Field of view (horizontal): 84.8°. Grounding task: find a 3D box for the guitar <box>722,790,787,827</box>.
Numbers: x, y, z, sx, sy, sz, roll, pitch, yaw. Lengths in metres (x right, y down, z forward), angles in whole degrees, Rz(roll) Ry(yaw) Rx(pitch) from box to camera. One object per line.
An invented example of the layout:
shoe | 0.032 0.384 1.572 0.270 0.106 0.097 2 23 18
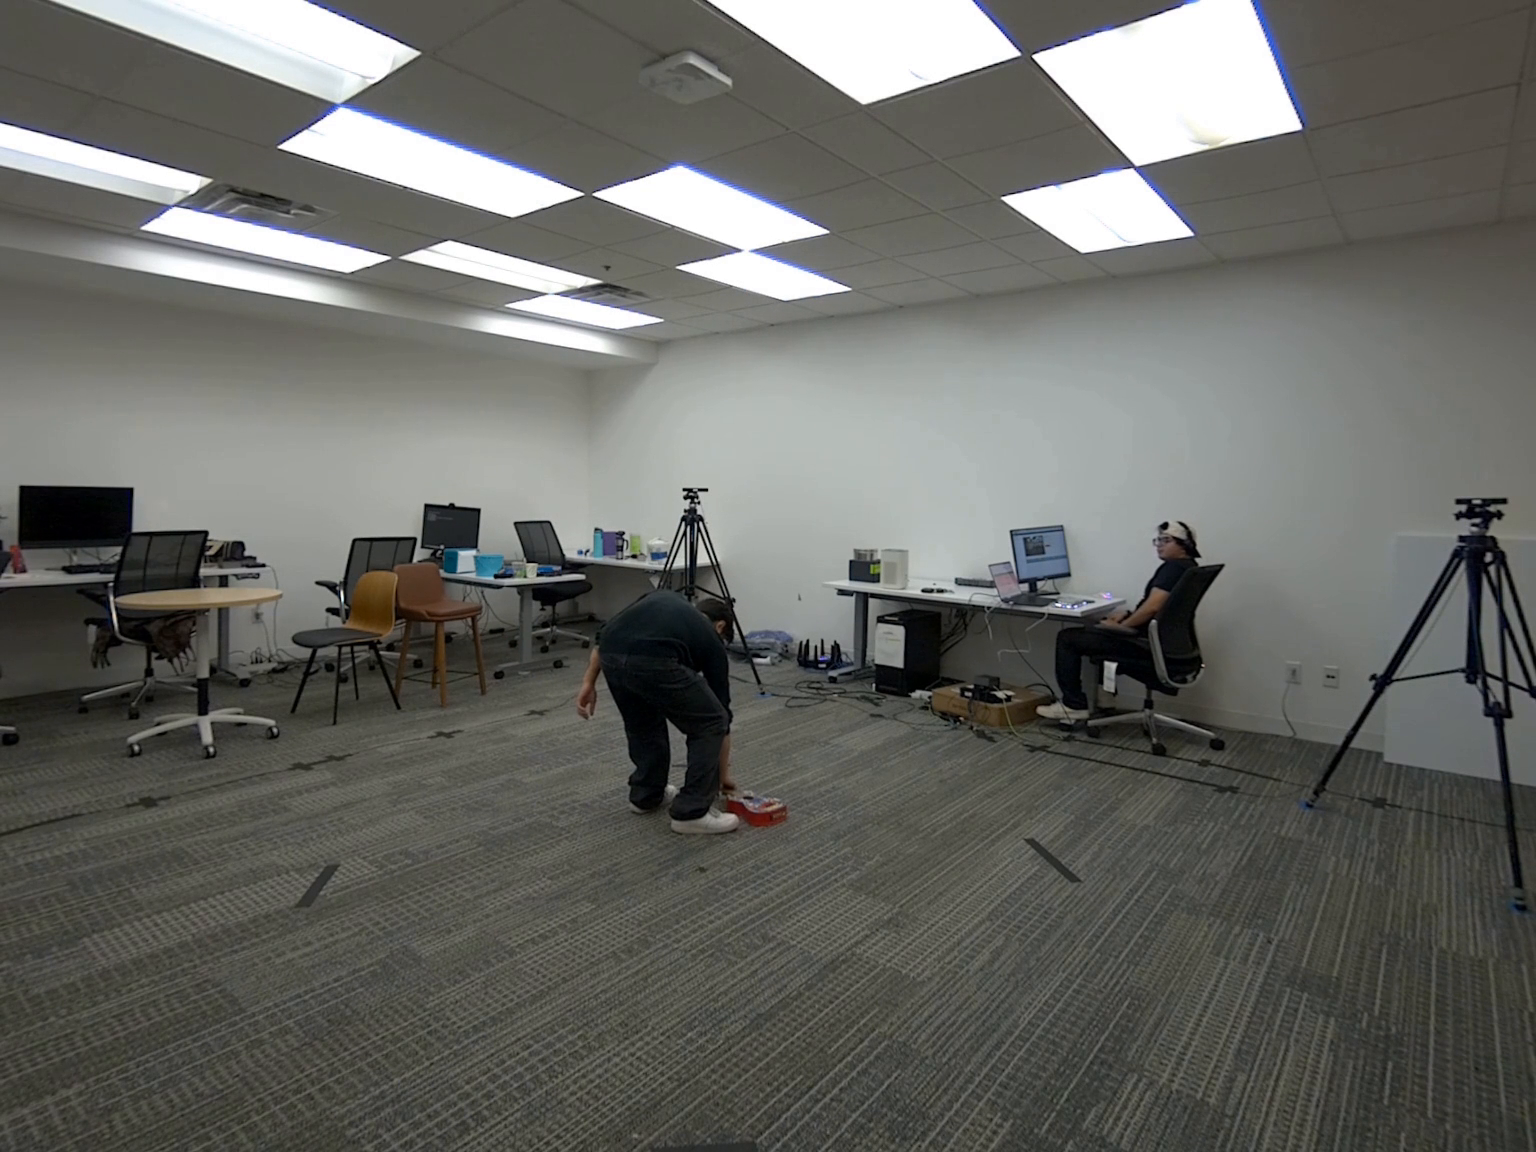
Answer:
guitar | -0.128 0.978 3.751 0.187 0.070 0.515 -3 7 -36
